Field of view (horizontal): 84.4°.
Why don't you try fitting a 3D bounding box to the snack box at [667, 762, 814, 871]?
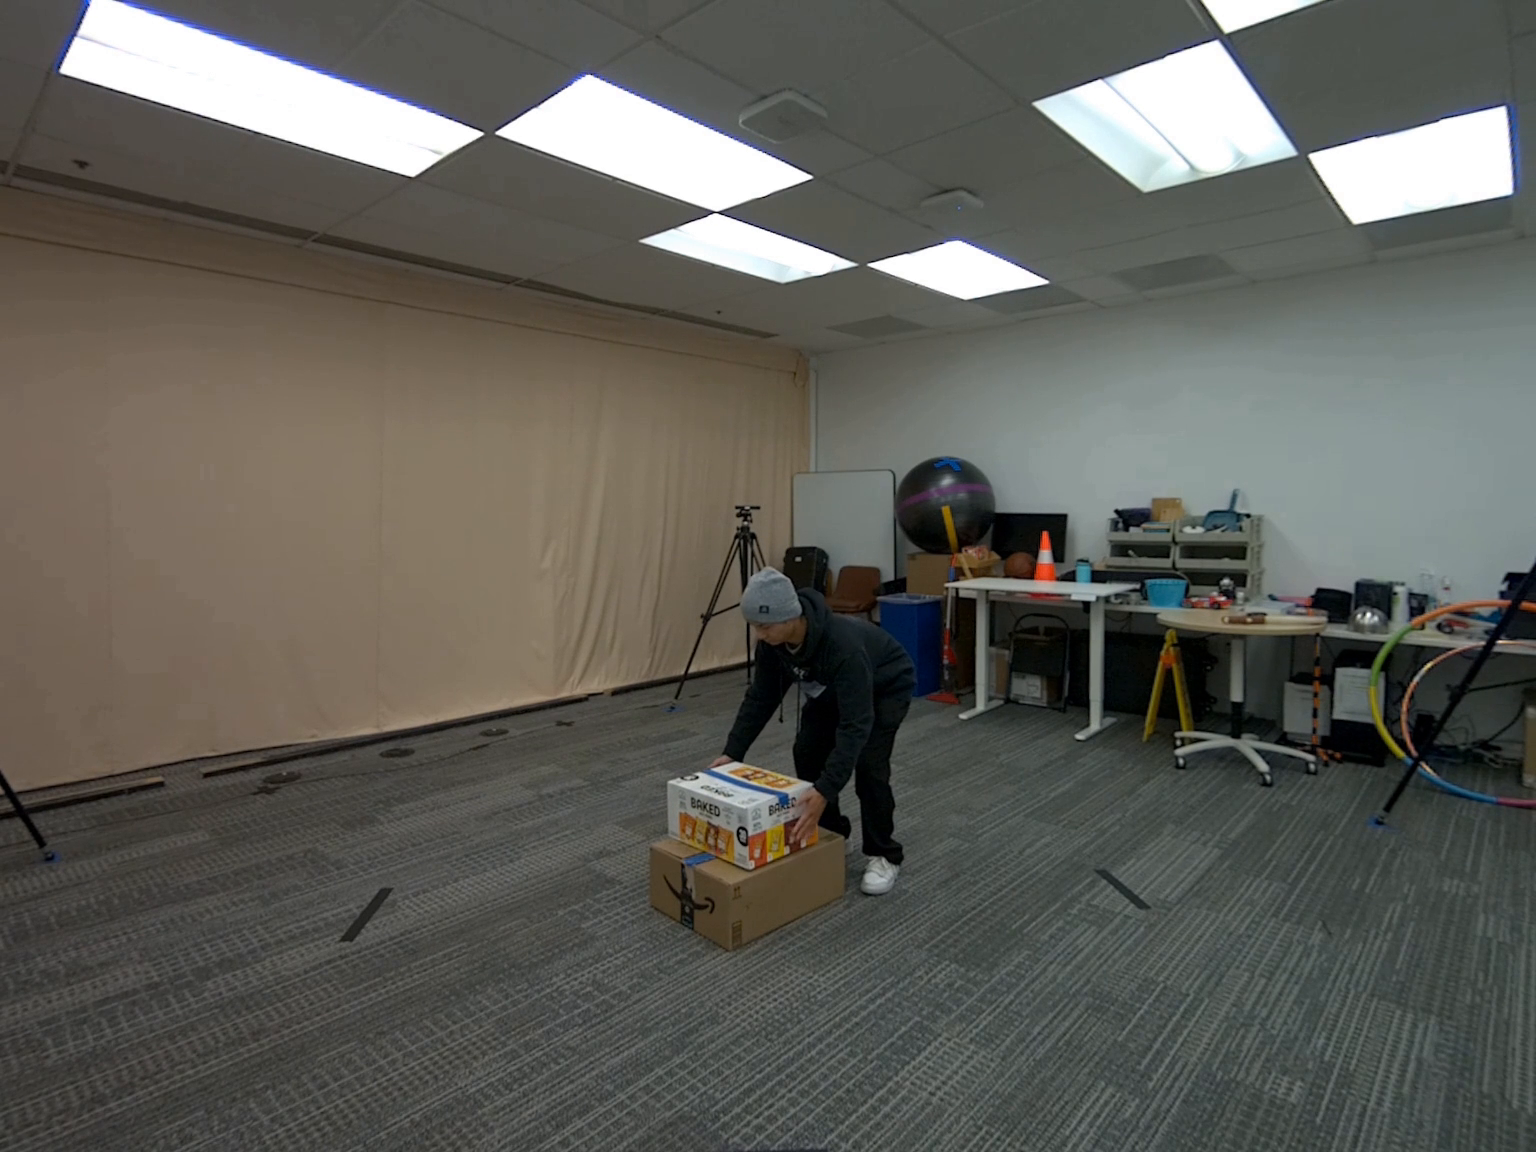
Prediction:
[{"bbox_3d":[-0.093,0.828,2.952,0.330,0.205,0.418,-4,5,-44],"label":"snack box"}]
